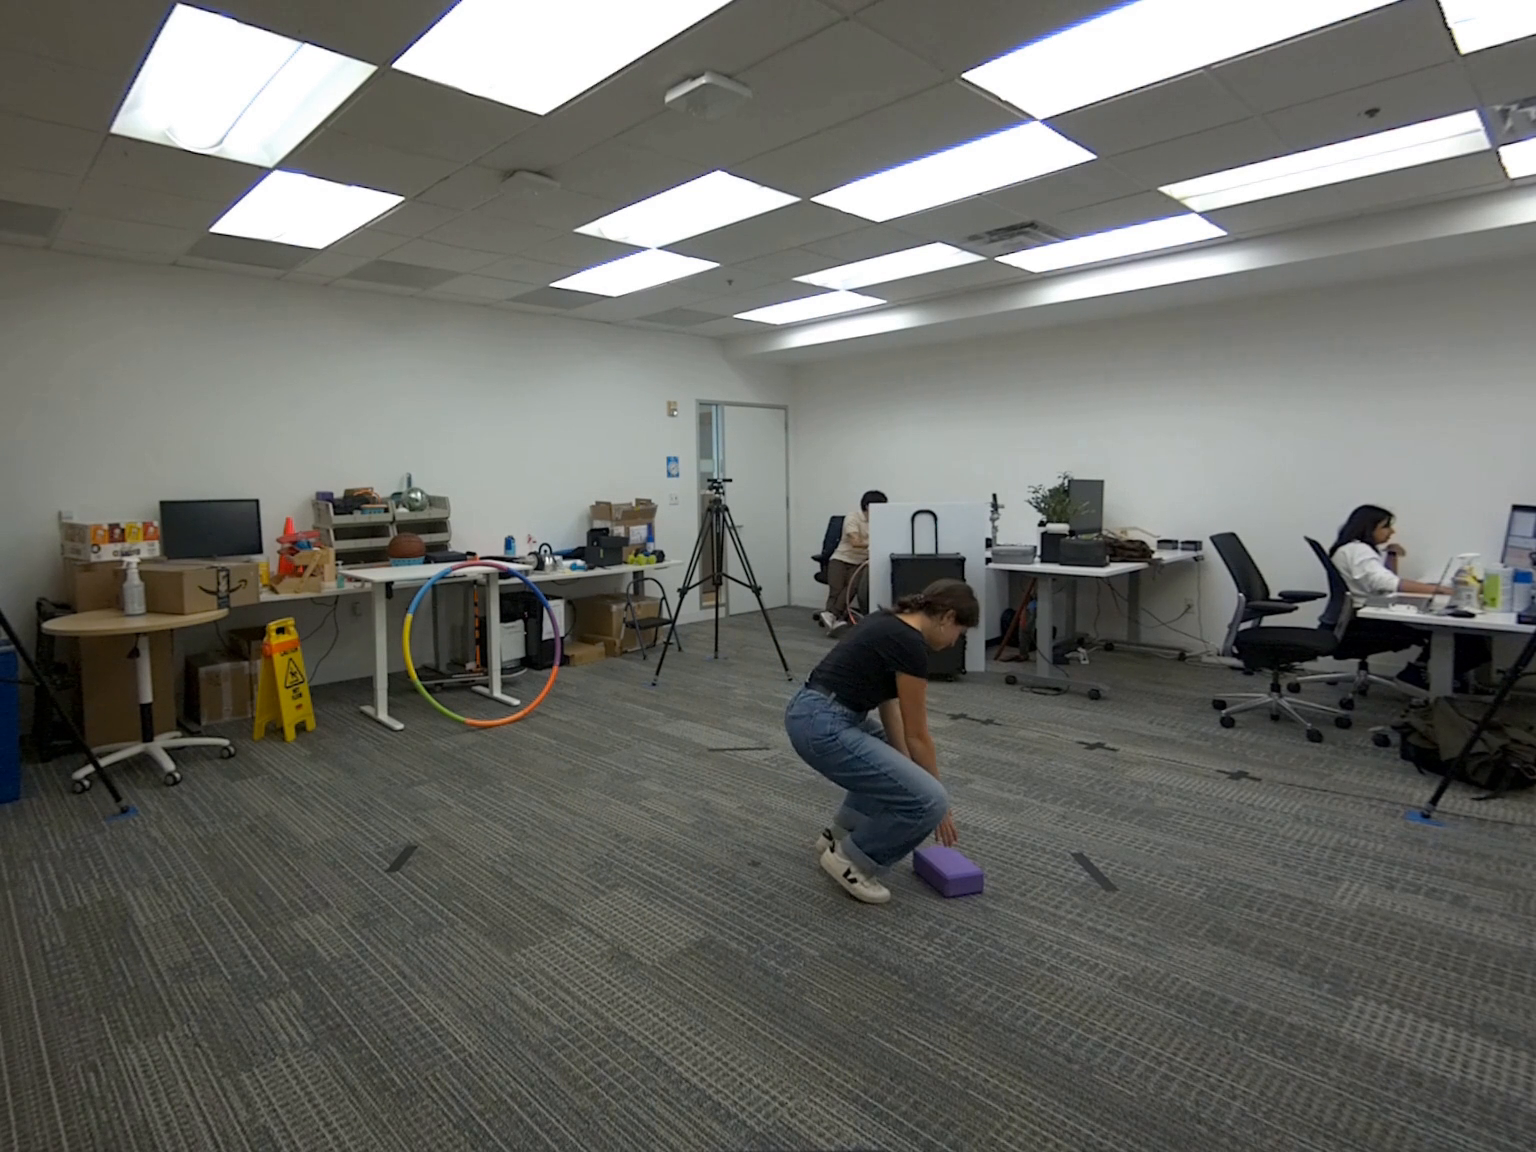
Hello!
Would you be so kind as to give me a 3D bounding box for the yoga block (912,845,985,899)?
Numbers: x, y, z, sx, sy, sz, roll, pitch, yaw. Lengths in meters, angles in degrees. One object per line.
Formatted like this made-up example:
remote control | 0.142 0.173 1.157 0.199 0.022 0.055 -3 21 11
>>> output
yoga block | 0.615 1.007 2.937 0.147 0.076 0.233 -4 6 -16
